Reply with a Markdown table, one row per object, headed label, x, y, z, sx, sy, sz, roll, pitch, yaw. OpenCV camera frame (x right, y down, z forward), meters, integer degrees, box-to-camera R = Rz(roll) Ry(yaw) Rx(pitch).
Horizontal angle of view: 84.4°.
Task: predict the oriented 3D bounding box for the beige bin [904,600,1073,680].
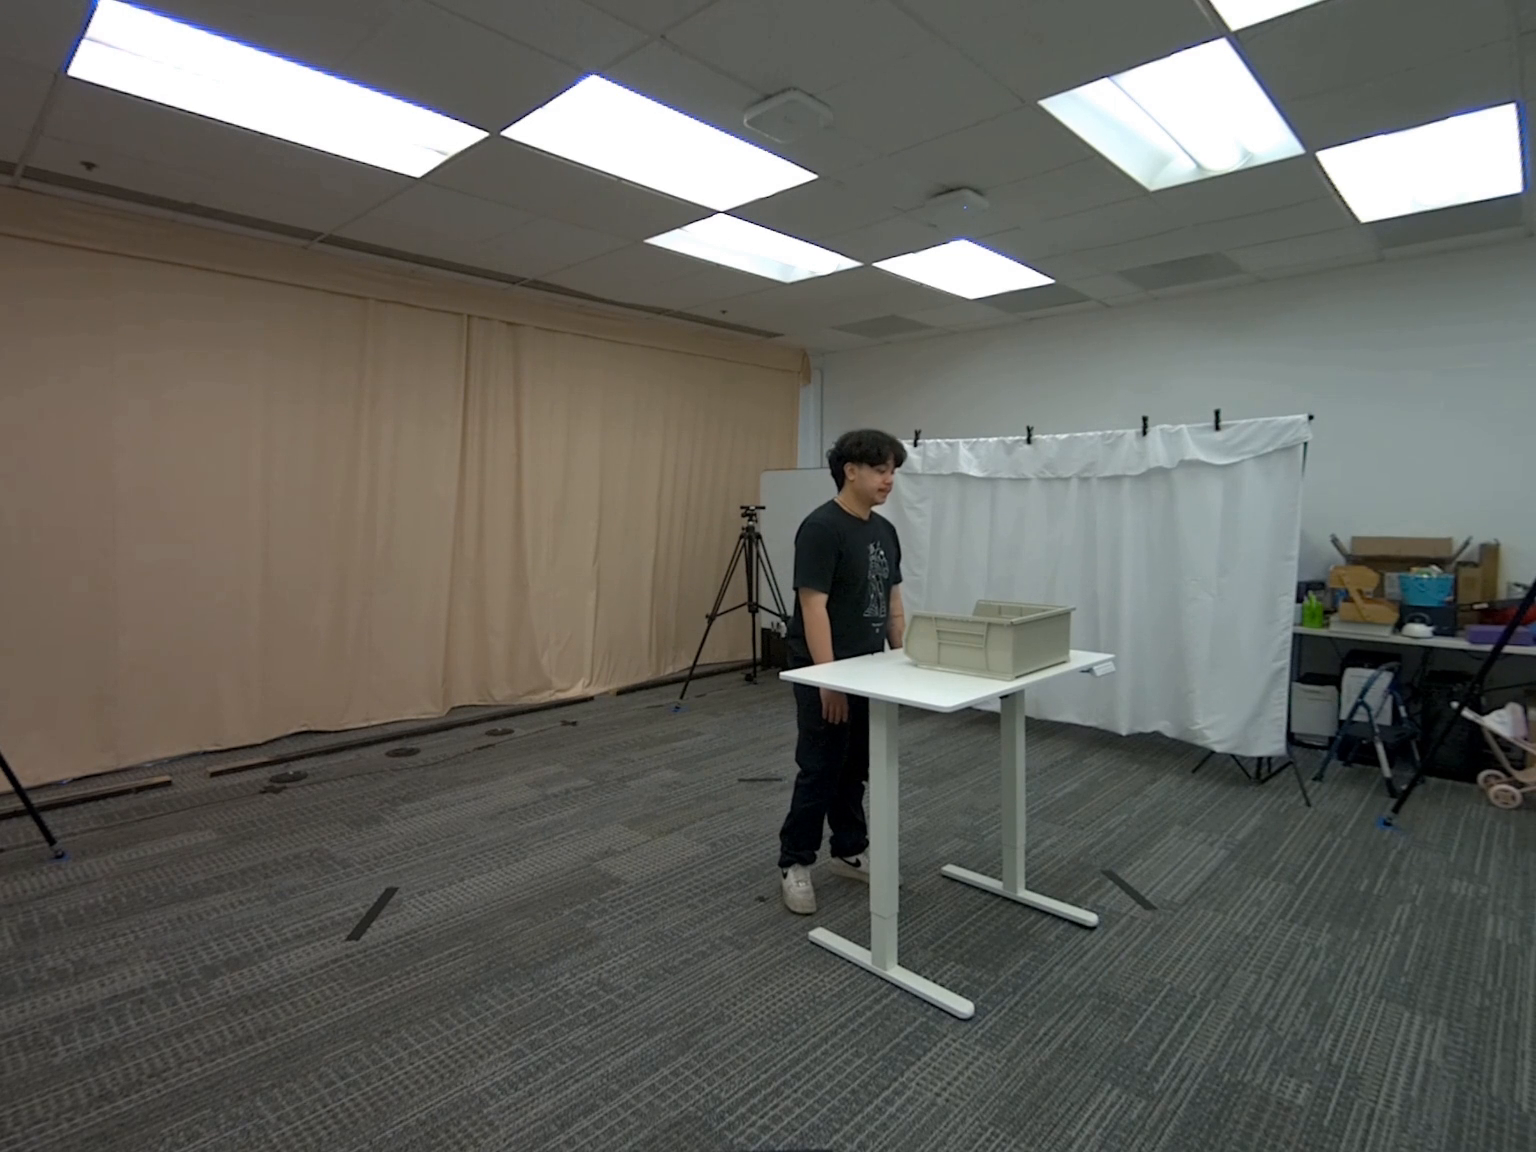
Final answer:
| label | x | y | z | sx | sy | sz | roll | pitch | yaw |
| --- | --- | --- | --- | --- | --- | --- | --- | --- | --- |
| beige bin | 0.706 | 0.196 | 2.689 | 0.390 | 0.188 | 0.409 | 5 | 7 | 45 |
